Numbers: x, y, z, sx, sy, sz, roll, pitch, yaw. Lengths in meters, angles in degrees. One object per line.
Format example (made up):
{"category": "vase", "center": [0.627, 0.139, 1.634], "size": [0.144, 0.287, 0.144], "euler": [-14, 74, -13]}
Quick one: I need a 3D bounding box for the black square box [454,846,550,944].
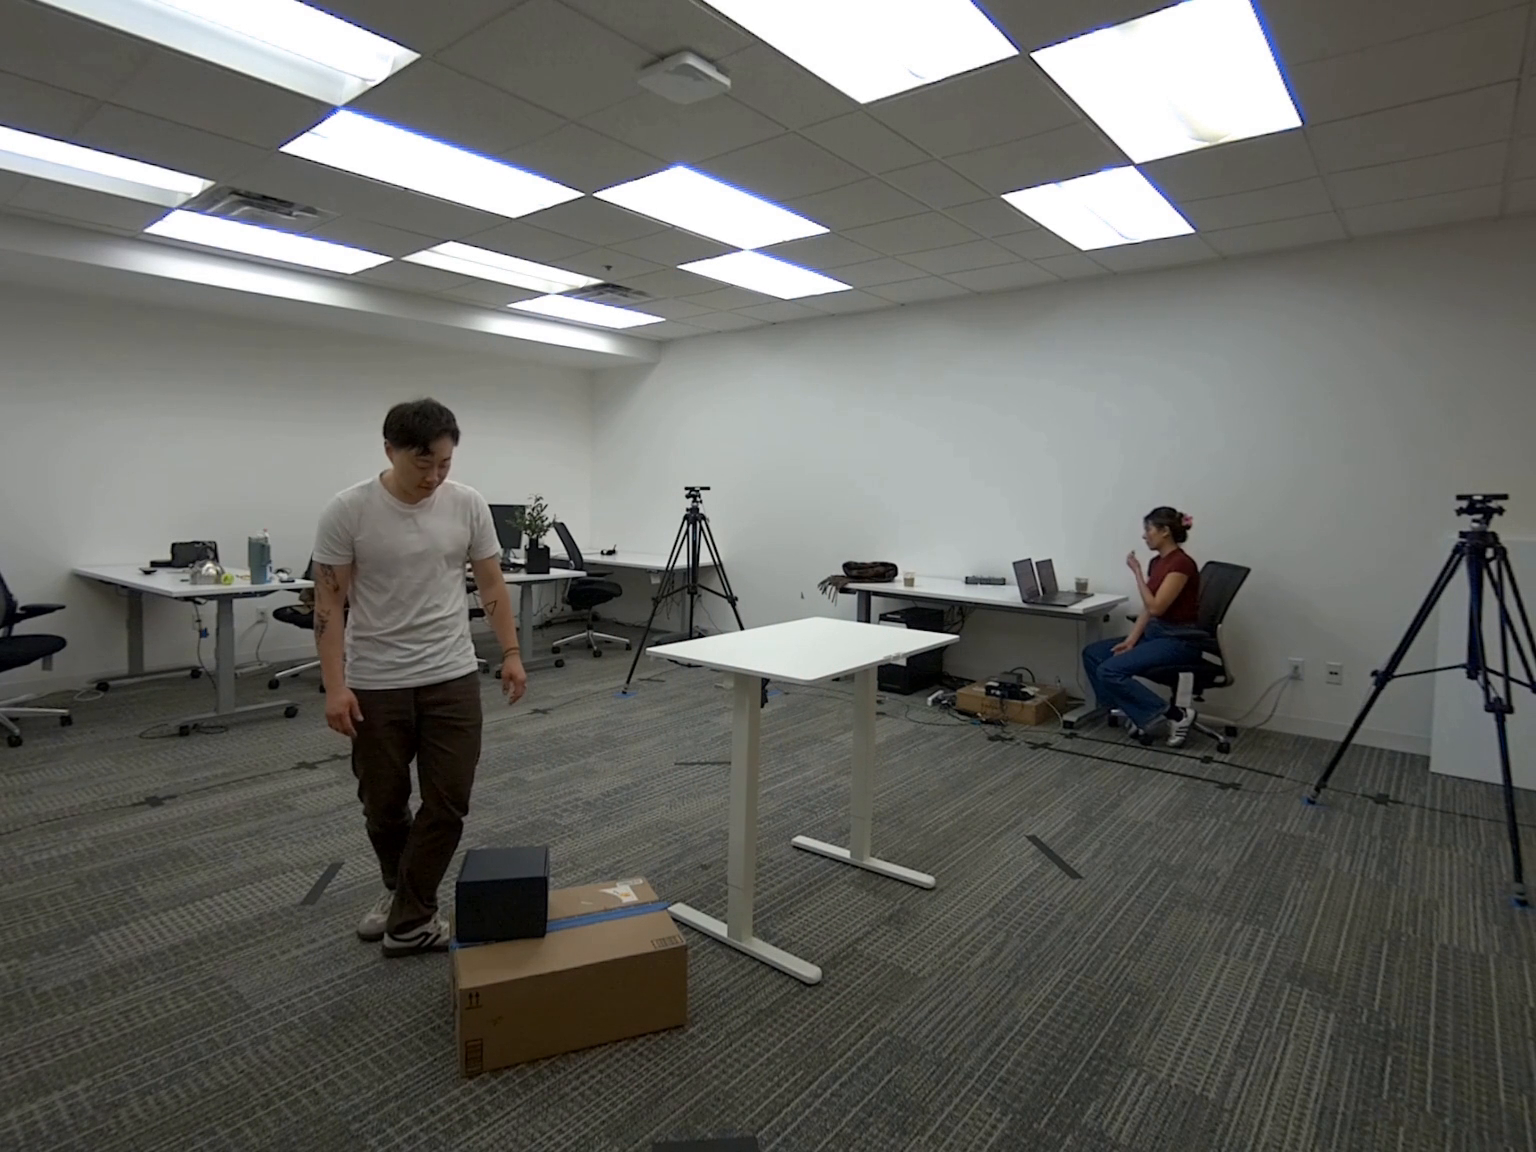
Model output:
{"category": "black square box", "center": [-0.712, 0.841, 2.285], "size": [0.225, 0.155, 0.220], "euler": [0, 3, -10]}
